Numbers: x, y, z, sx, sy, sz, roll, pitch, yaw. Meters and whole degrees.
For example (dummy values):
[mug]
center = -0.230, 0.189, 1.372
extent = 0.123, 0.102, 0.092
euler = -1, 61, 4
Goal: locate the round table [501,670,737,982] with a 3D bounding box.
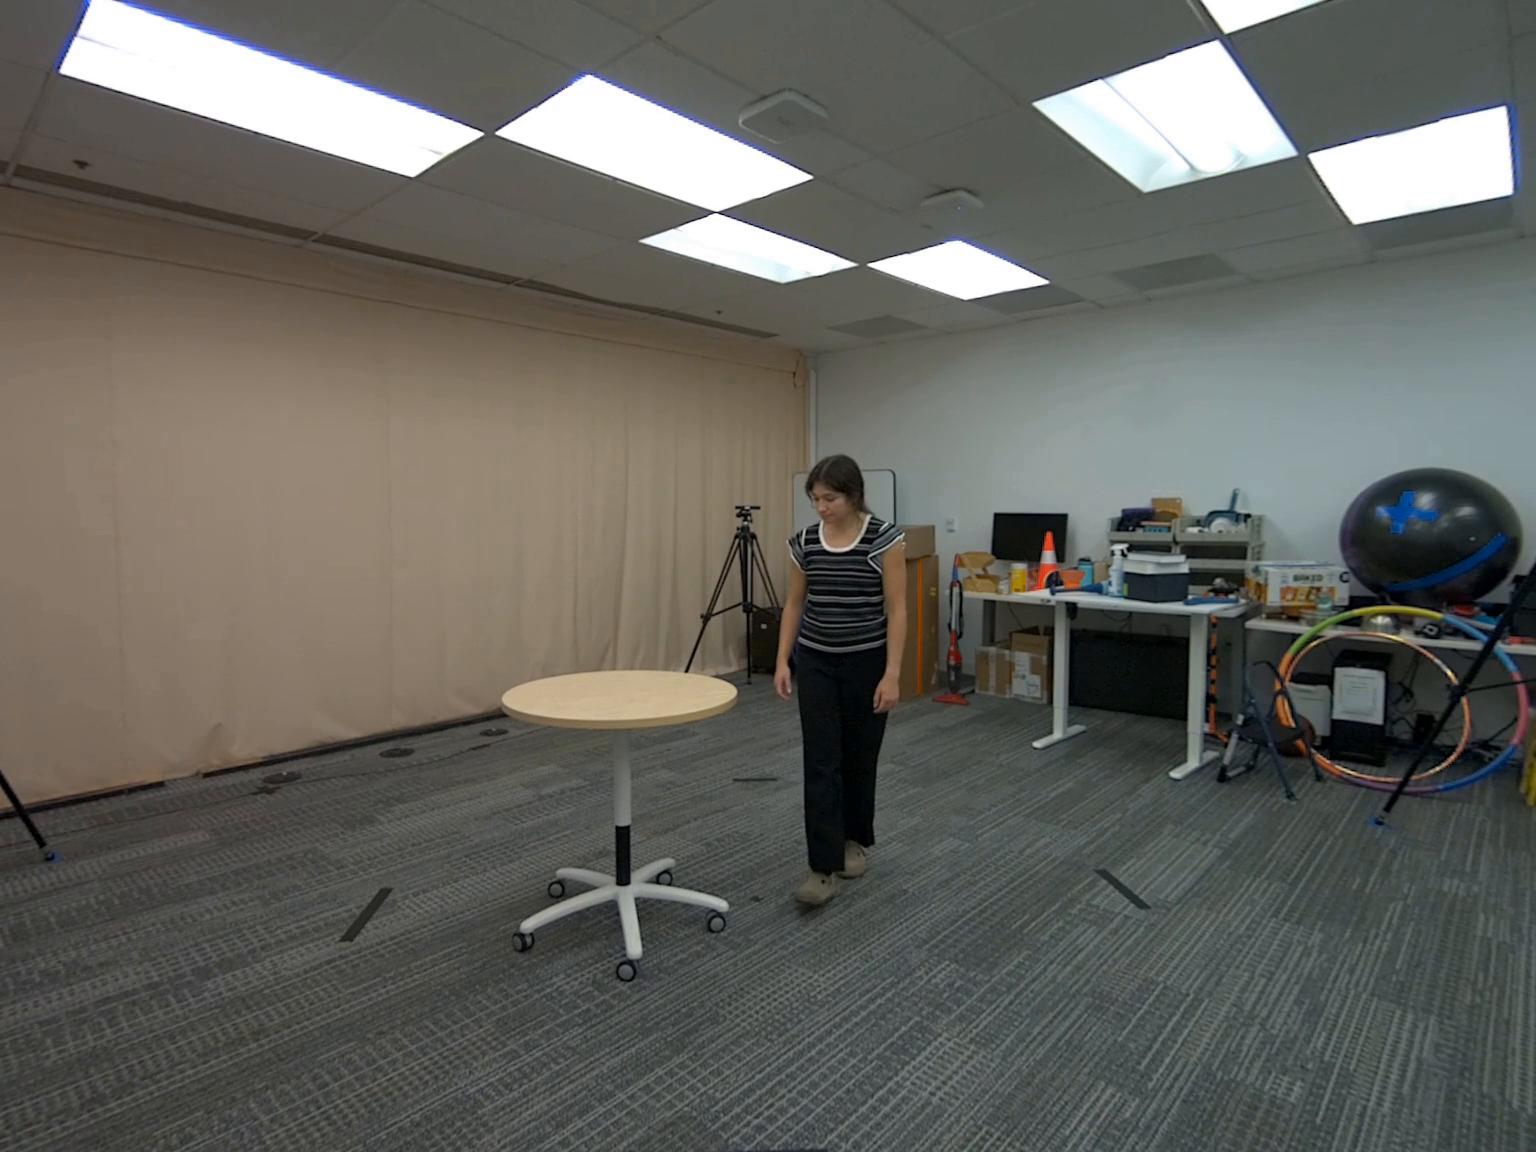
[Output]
[round table]
center = -0.481, 0.777, 2.784
extent = 0.763, 0.792, 0.766
euler = 0, 3, -2
